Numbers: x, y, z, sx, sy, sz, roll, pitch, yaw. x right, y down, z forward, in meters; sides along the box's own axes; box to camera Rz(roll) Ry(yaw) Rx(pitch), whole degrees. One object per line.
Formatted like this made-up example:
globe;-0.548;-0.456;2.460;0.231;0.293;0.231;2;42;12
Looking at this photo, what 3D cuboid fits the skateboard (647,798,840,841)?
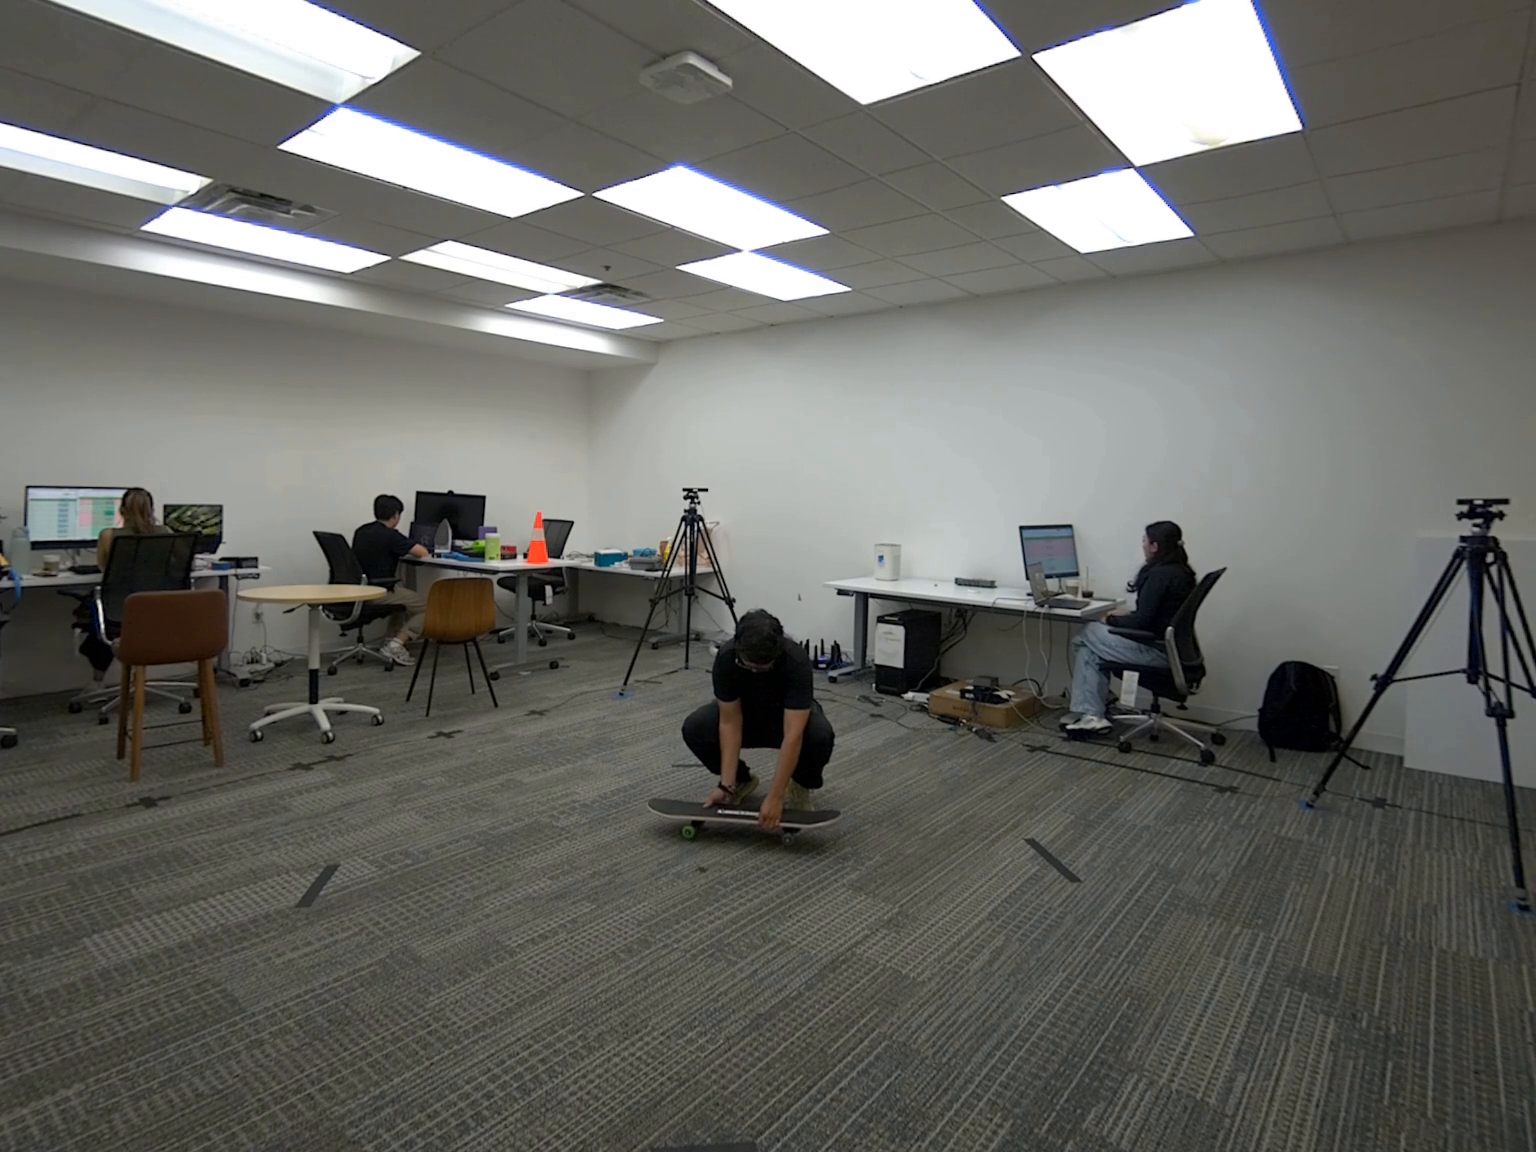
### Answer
skateboard;-0.117;0.972;3.386;0.796;0.110;0.191;0;2;12
